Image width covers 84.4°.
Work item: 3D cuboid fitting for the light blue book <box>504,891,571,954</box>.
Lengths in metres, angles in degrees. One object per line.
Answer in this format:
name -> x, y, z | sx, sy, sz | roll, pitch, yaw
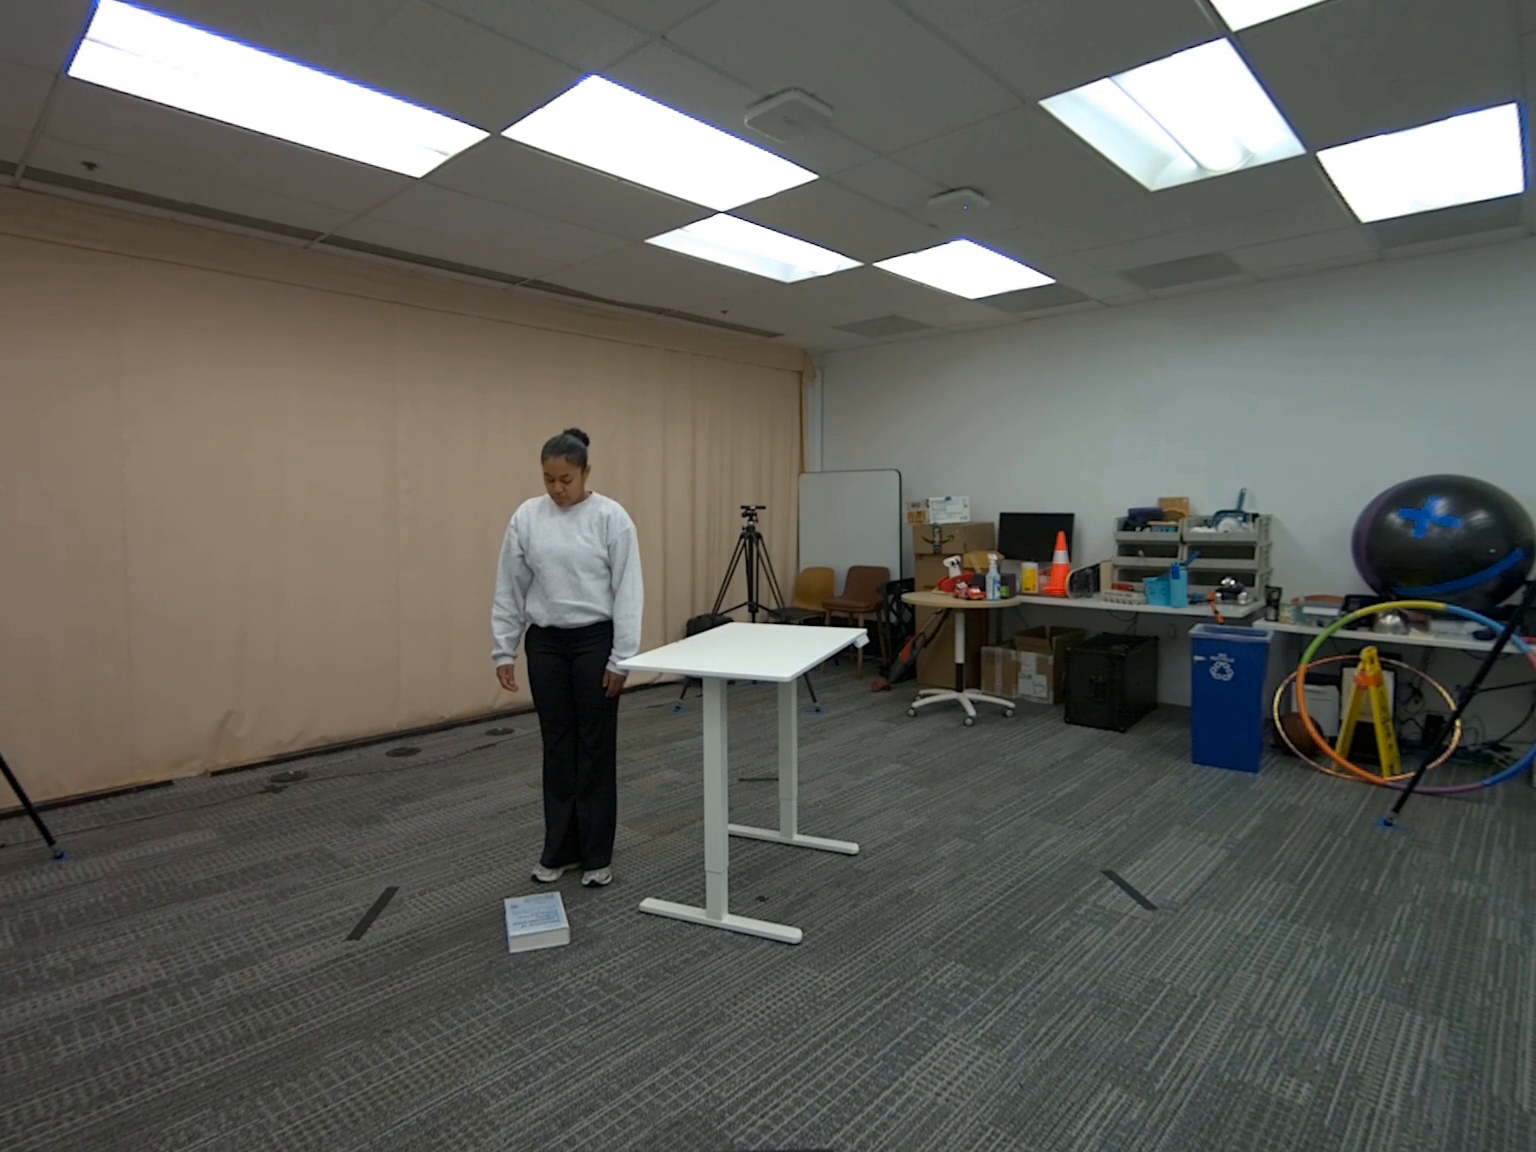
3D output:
light blue book -> -0.756, 1.127, 2.779 | 0.188, 0.059, 0.266 | -3, 5, -19
